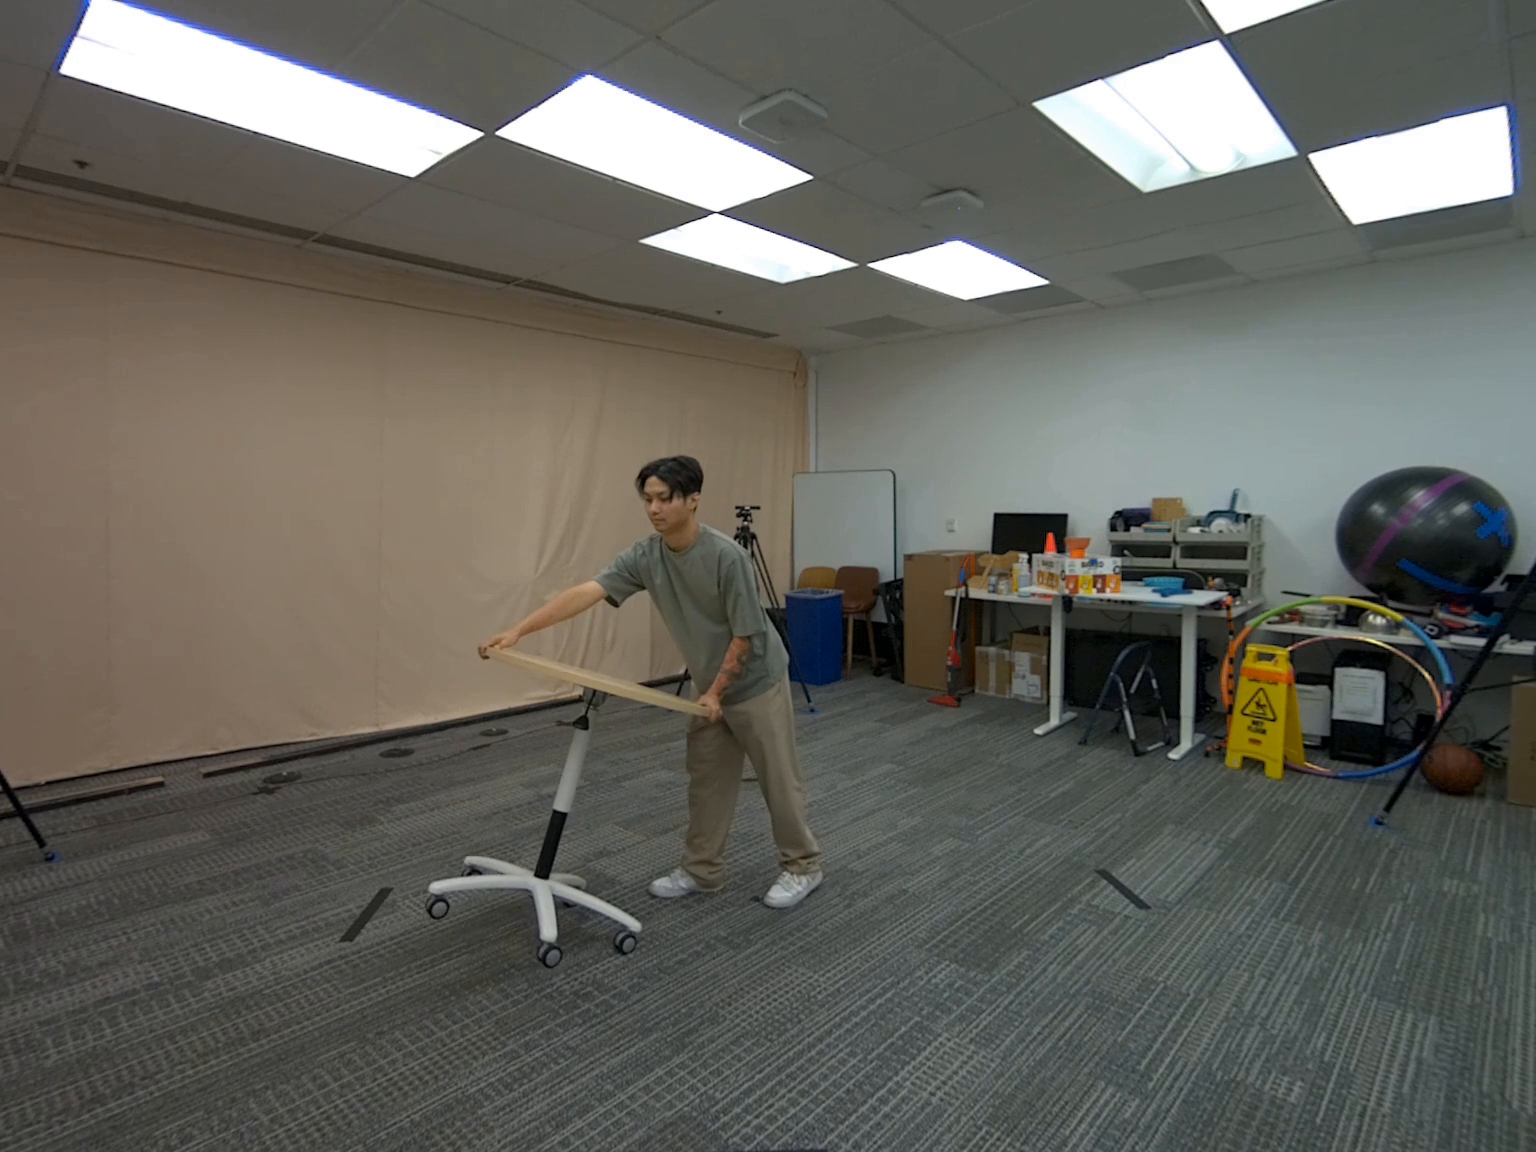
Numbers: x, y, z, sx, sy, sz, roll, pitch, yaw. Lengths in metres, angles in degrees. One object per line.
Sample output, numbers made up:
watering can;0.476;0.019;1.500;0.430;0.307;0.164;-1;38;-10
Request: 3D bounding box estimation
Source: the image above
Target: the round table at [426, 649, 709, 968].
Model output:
round table;-0.666;0.714;2.720;0.786;0.788;0.782;15;-8;0
